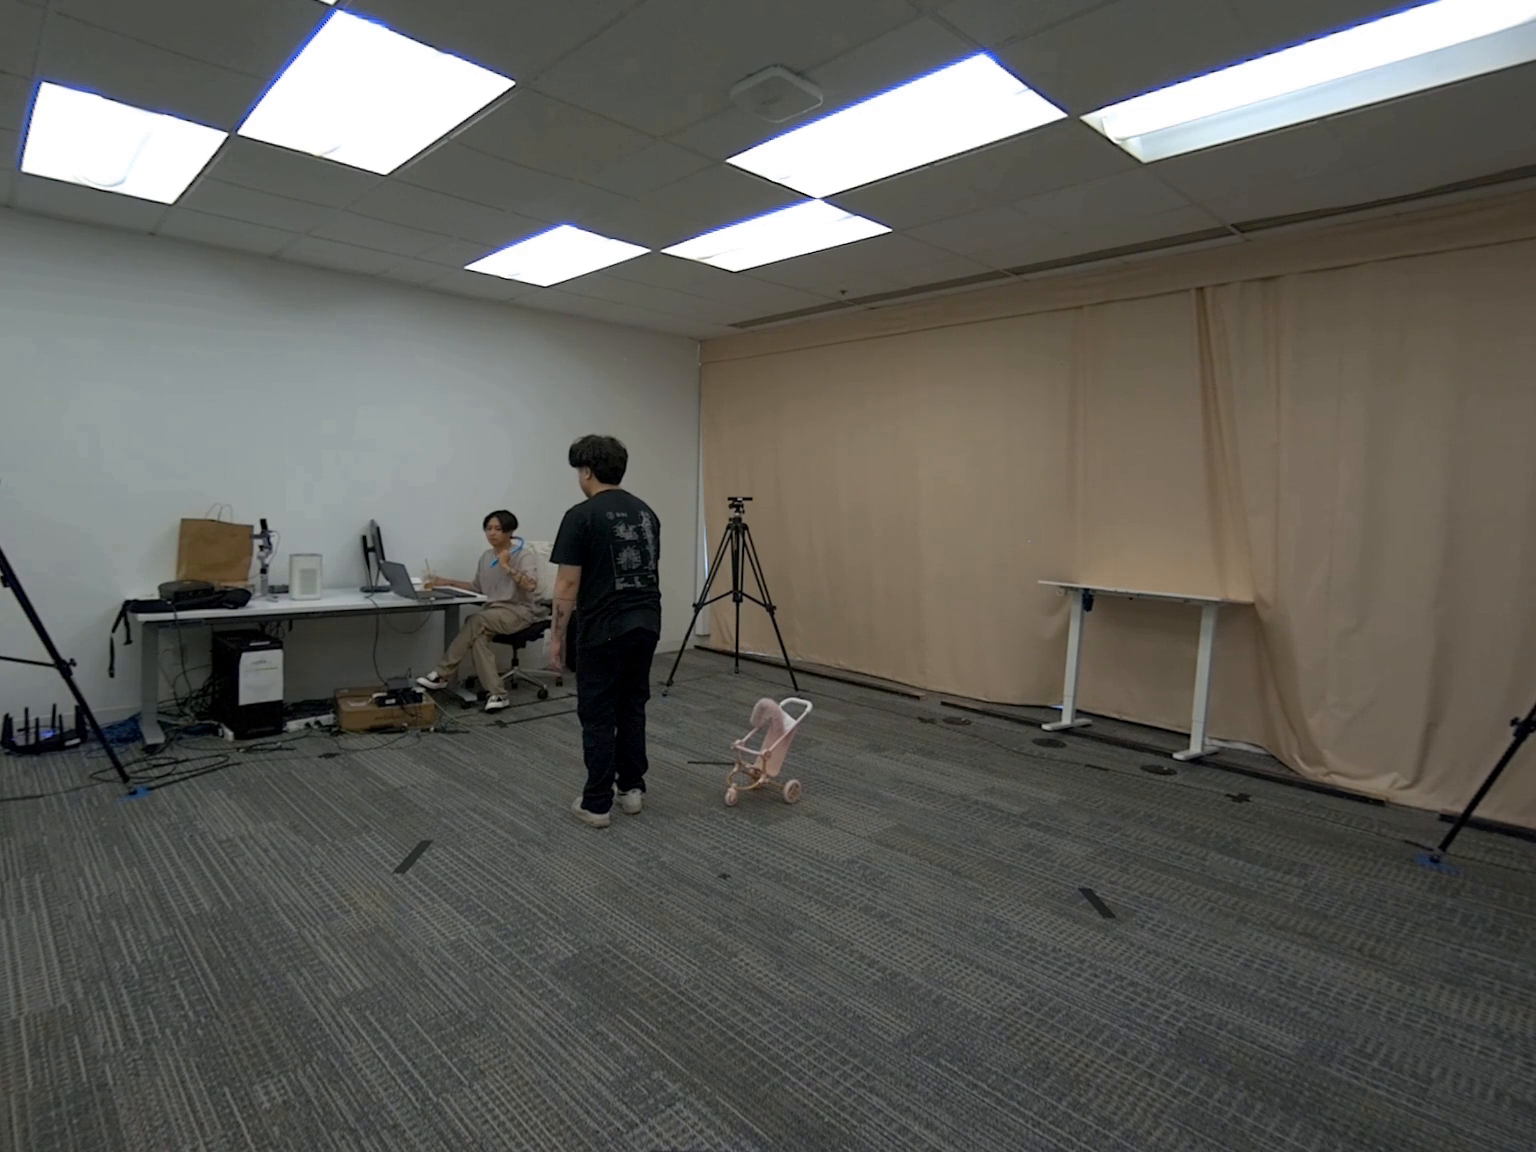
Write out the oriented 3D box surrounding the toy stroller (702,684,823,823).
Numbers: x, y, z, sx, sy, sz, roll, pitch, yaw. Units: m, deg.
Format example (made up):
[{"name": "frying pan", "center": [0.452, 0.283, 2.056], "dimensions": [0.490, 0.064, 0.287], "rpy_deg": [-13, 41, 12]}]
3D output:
[{"name": "toy stroller", "center": [-0.026, 0.822, 3.944], "dimensions": [0.332, 0.536, 0.288], "rpy_deg": [18, -7, -36]}]
